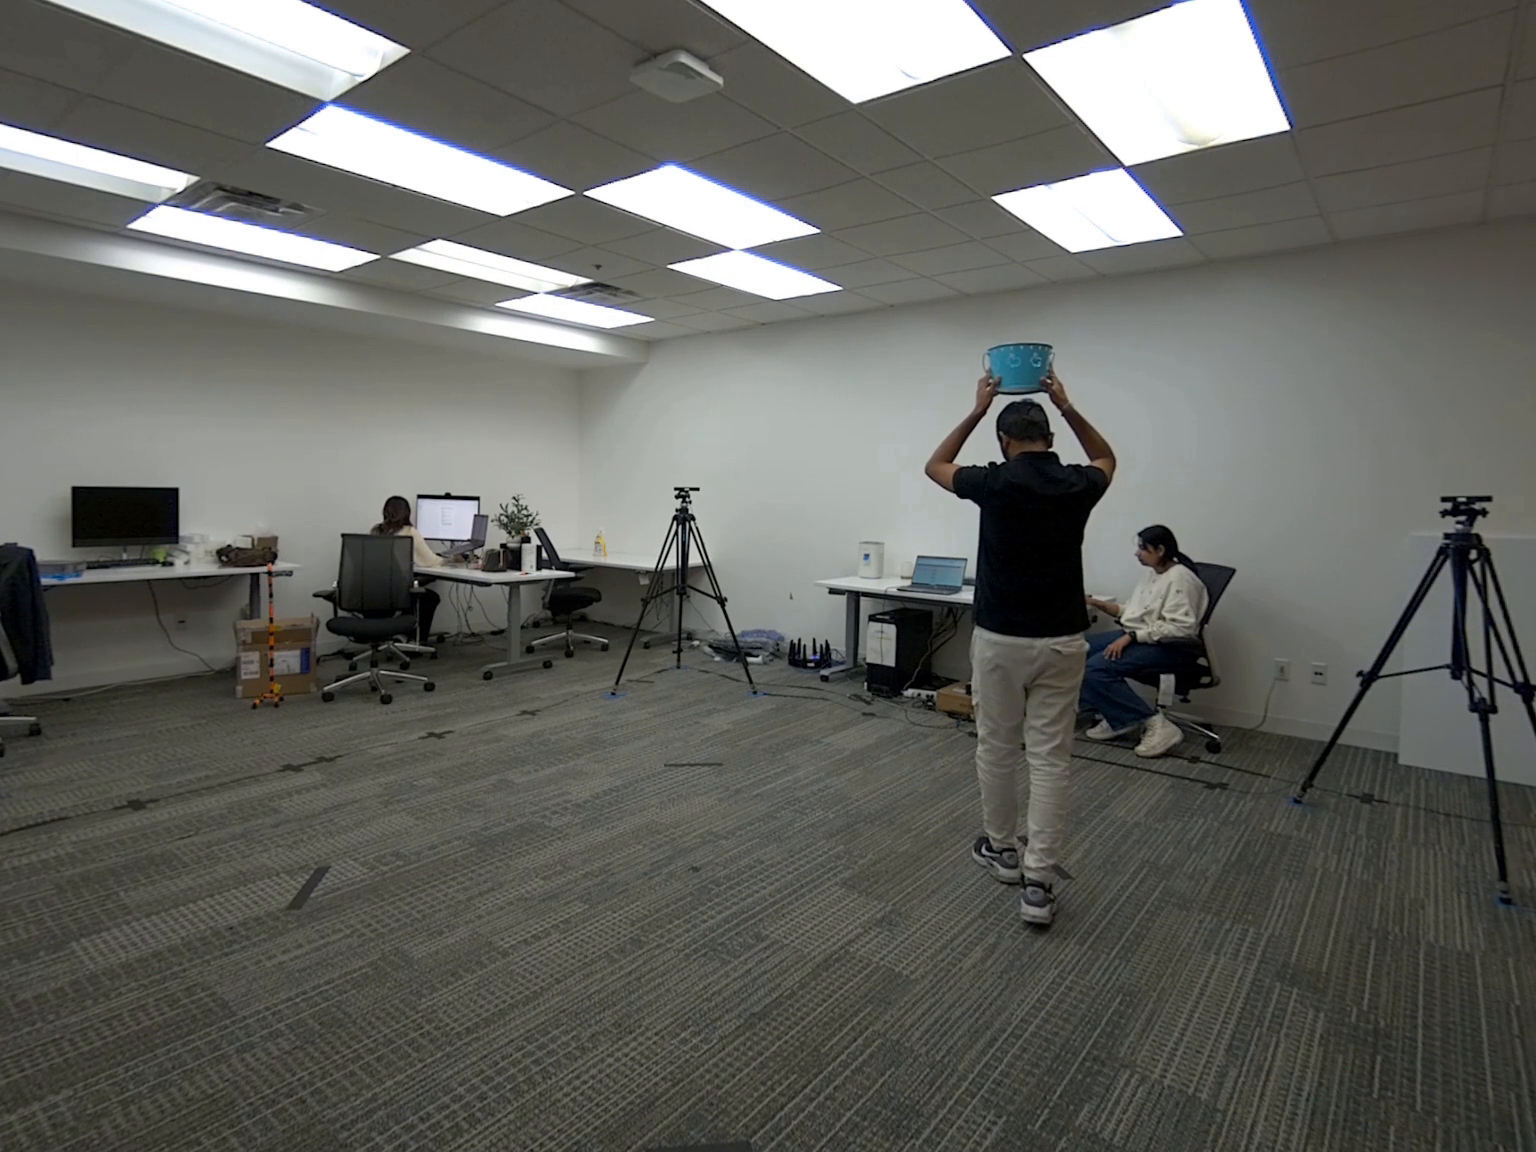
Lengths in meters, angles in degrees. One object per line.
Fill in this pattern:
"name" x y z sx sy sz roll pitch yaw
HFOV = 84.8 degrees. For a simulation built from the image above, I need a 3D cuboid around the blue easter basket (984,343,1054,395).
"blue easter basket" 0.928 -0.757 3.104 0.243 0.155 0.245 2 4 -2
